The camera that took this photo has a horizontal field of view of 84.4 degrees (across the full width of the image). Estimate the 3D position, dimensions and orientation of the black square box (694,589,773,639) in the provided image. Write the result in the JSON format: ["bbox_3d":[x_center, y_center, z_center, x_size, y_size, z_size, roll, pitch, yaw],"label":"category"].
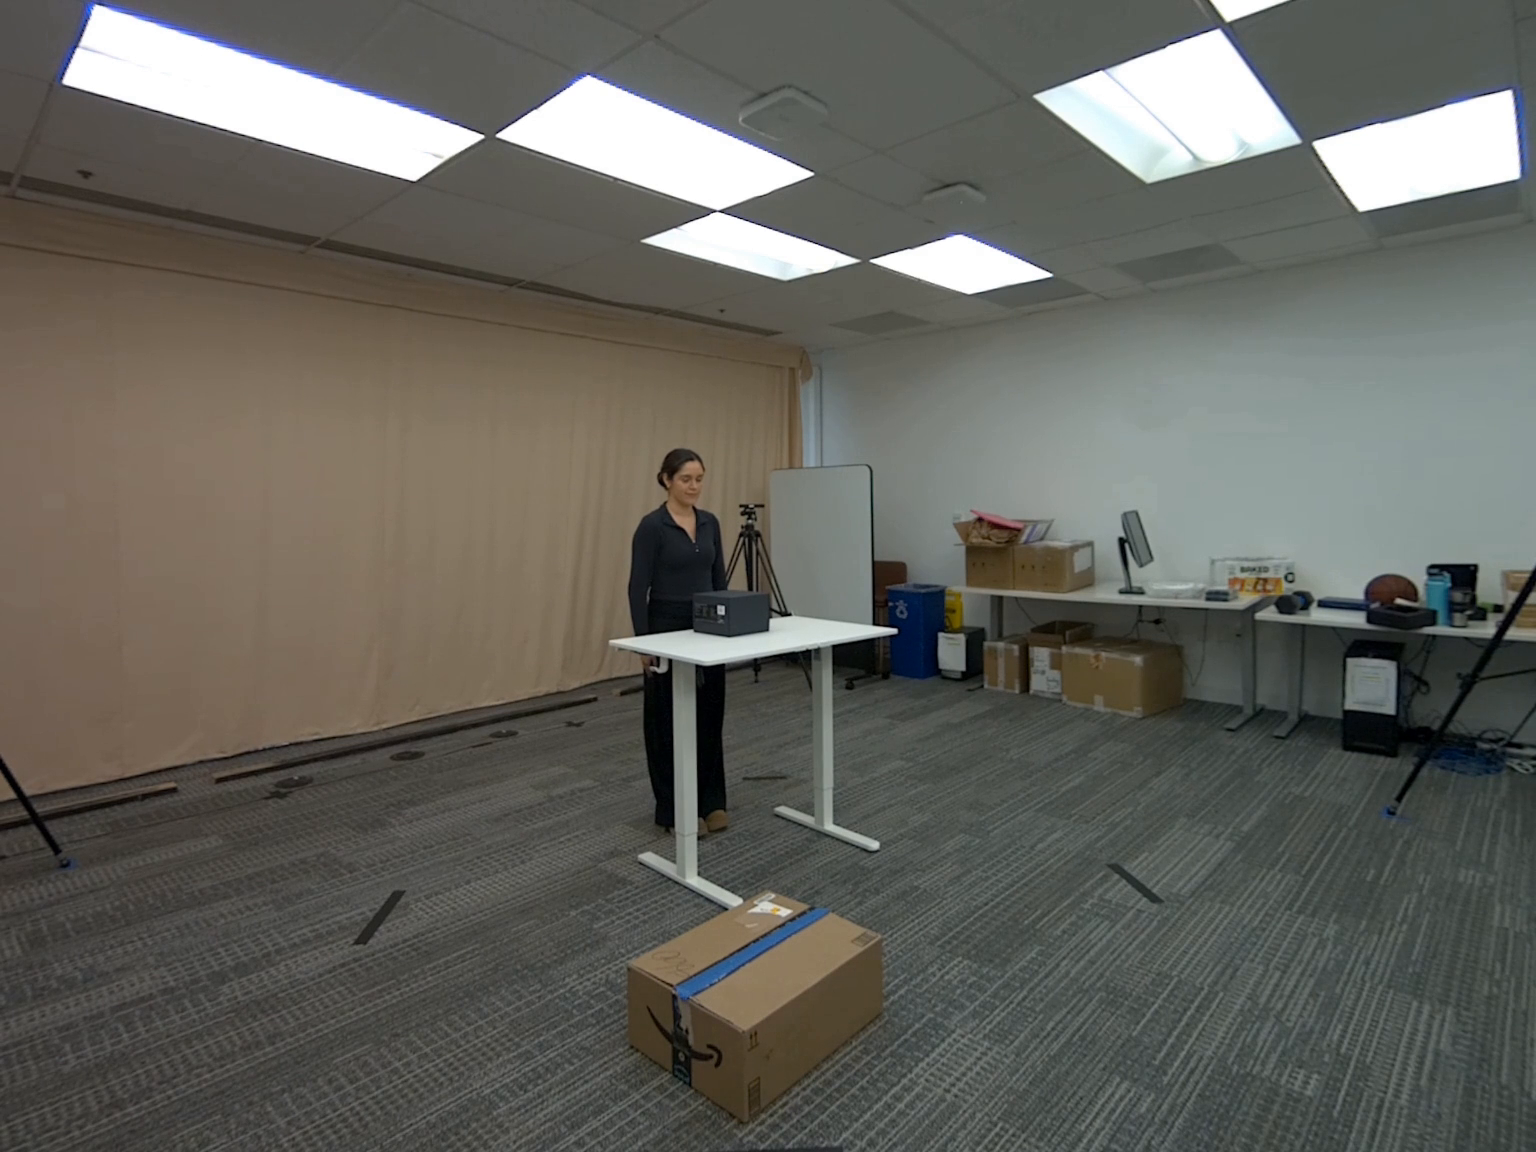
[{"bbox_3d":[-0.142,0.146,3.403,0.224,0.155,0.221,3,6,45],"label":"black square box"}]
